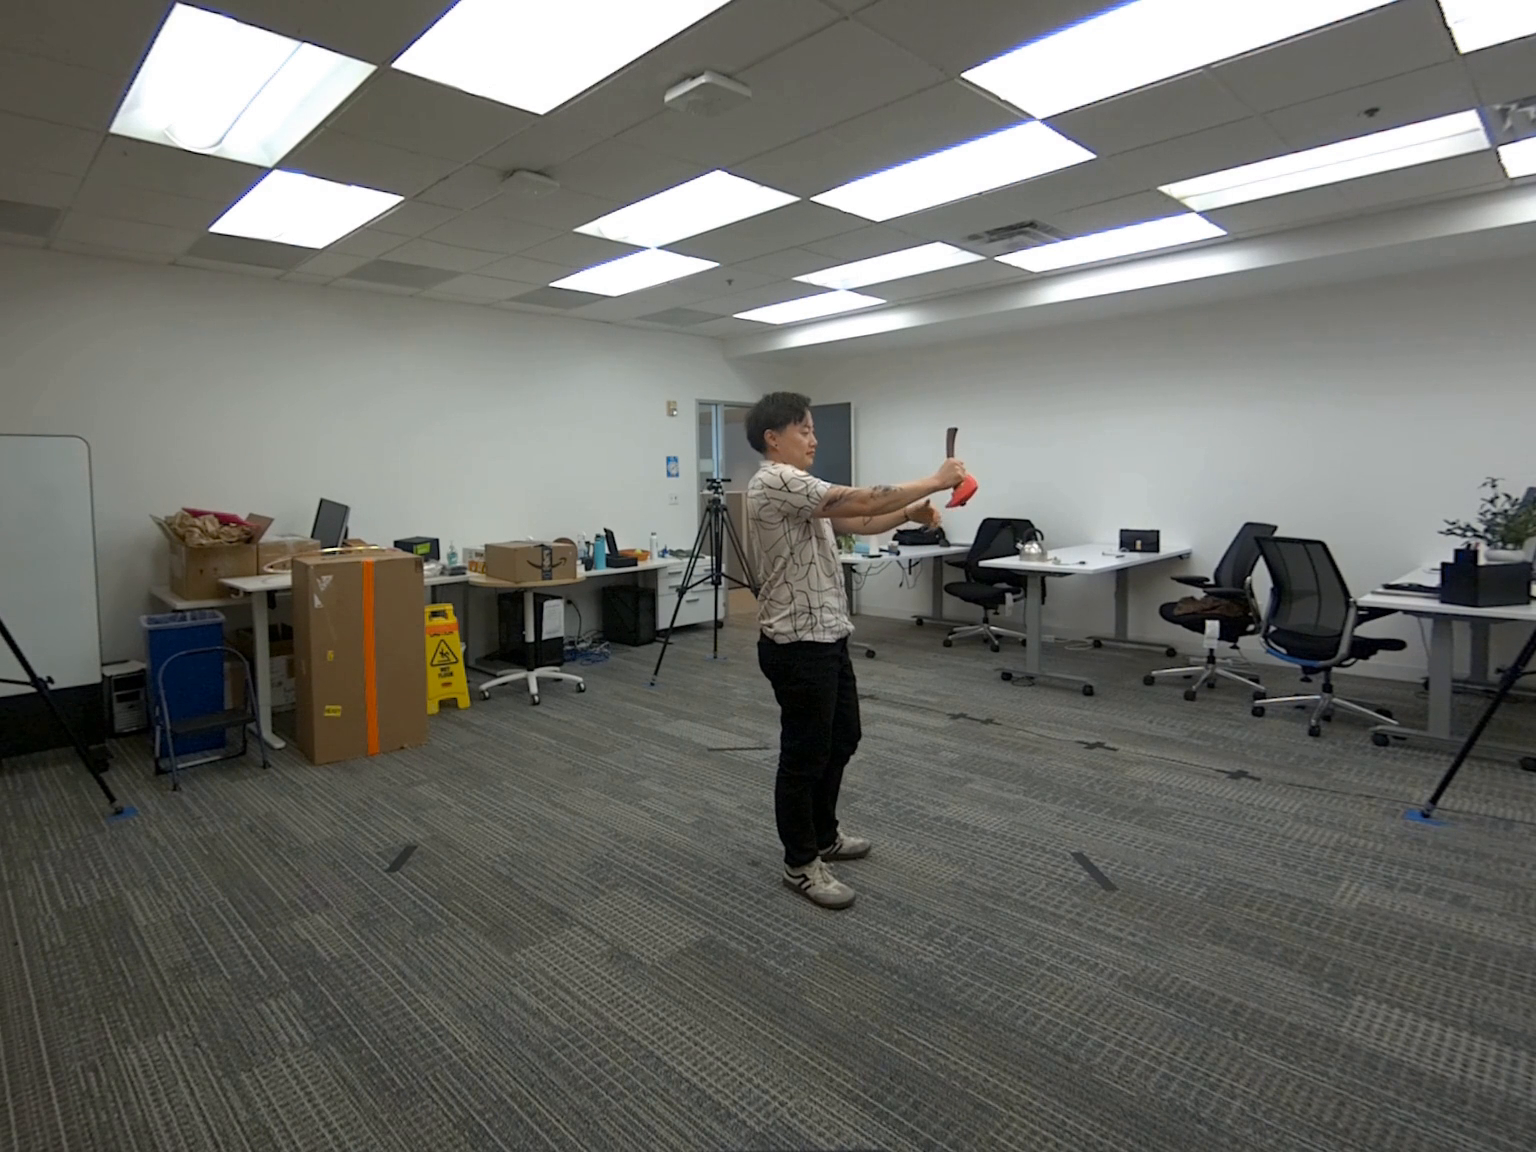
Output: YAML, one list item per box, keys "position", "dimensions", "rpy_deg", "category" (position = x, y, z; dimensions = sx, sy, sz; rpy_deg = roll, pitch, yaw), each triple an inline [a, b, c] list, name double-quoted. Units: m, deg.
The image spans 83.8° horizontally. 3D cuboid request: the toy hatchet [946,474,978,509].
- position: [0.593, -0.343, 2.644]
  dimensions: [0.029, 0.273, 0.133]
  rpy_deg: [10, -12, -27]
  category: "toy hatchet"
